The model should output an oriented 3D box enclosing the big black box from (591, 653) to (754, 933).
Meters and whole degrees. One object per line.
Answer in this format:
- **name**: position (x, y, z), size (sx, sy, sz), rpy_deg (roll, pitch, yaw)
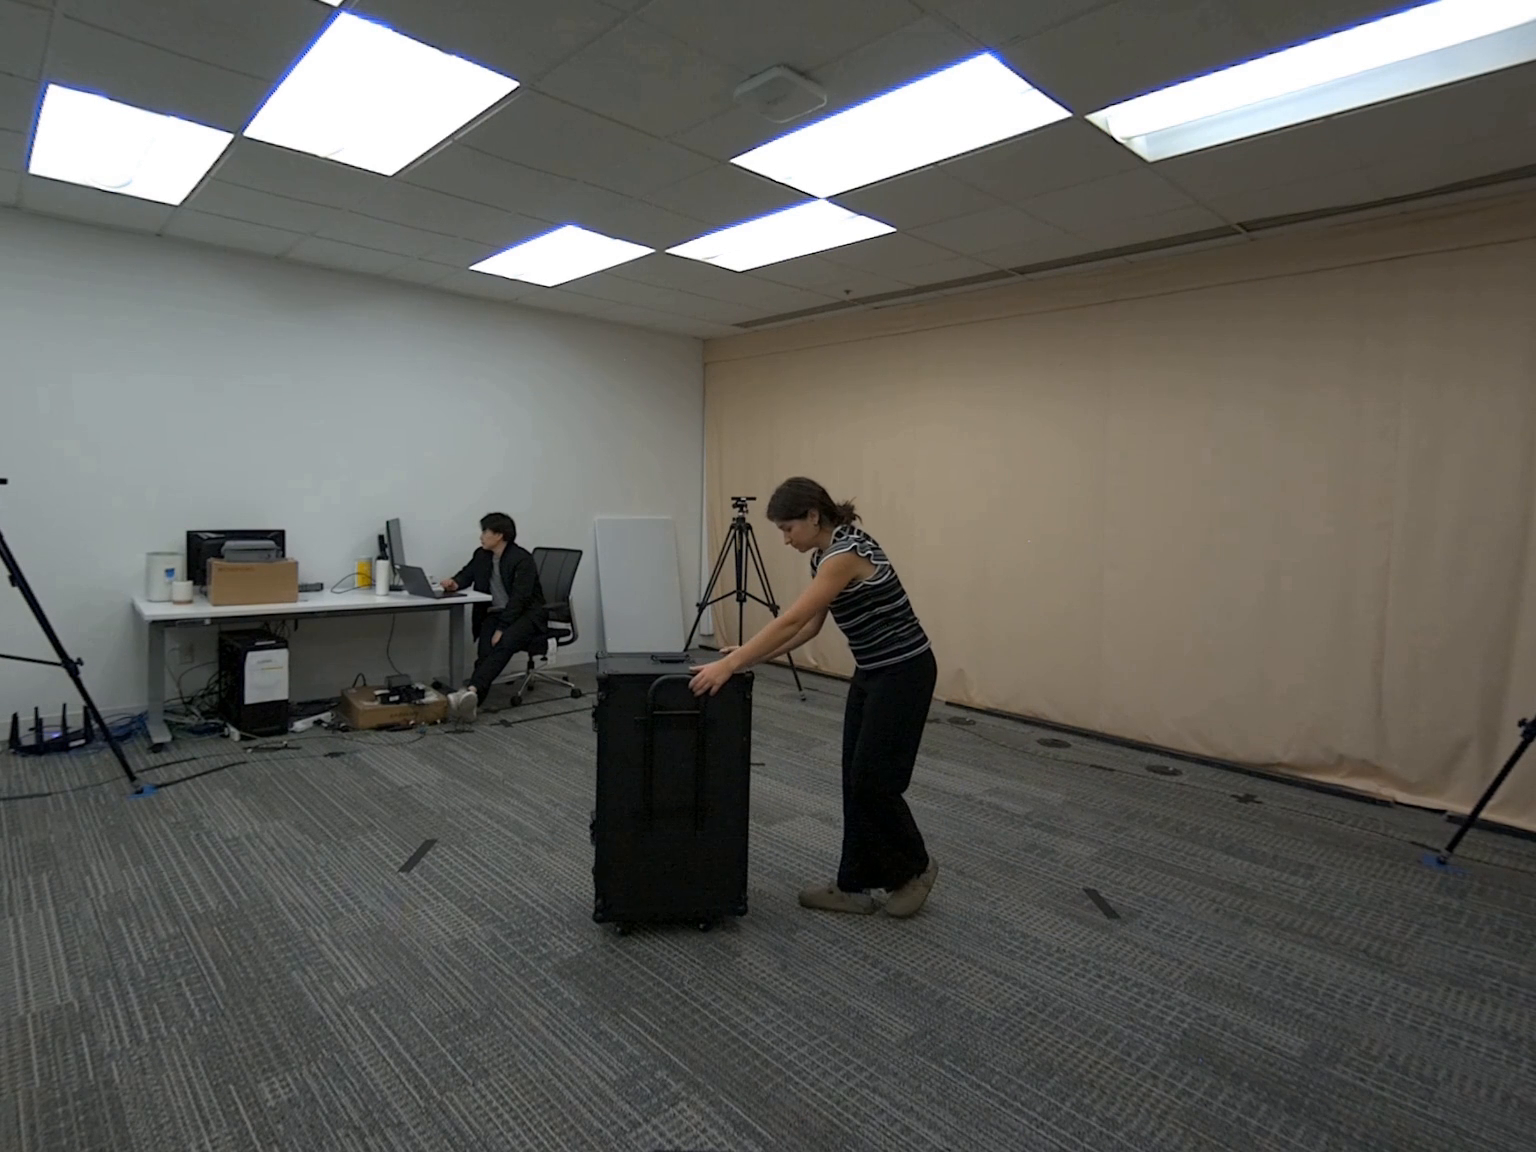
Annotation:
- **big black box**: position (-0.324, 0.711, 2.776), size (0.517, 0.859, 0.400), rpy_deg (1, 4, -10)
